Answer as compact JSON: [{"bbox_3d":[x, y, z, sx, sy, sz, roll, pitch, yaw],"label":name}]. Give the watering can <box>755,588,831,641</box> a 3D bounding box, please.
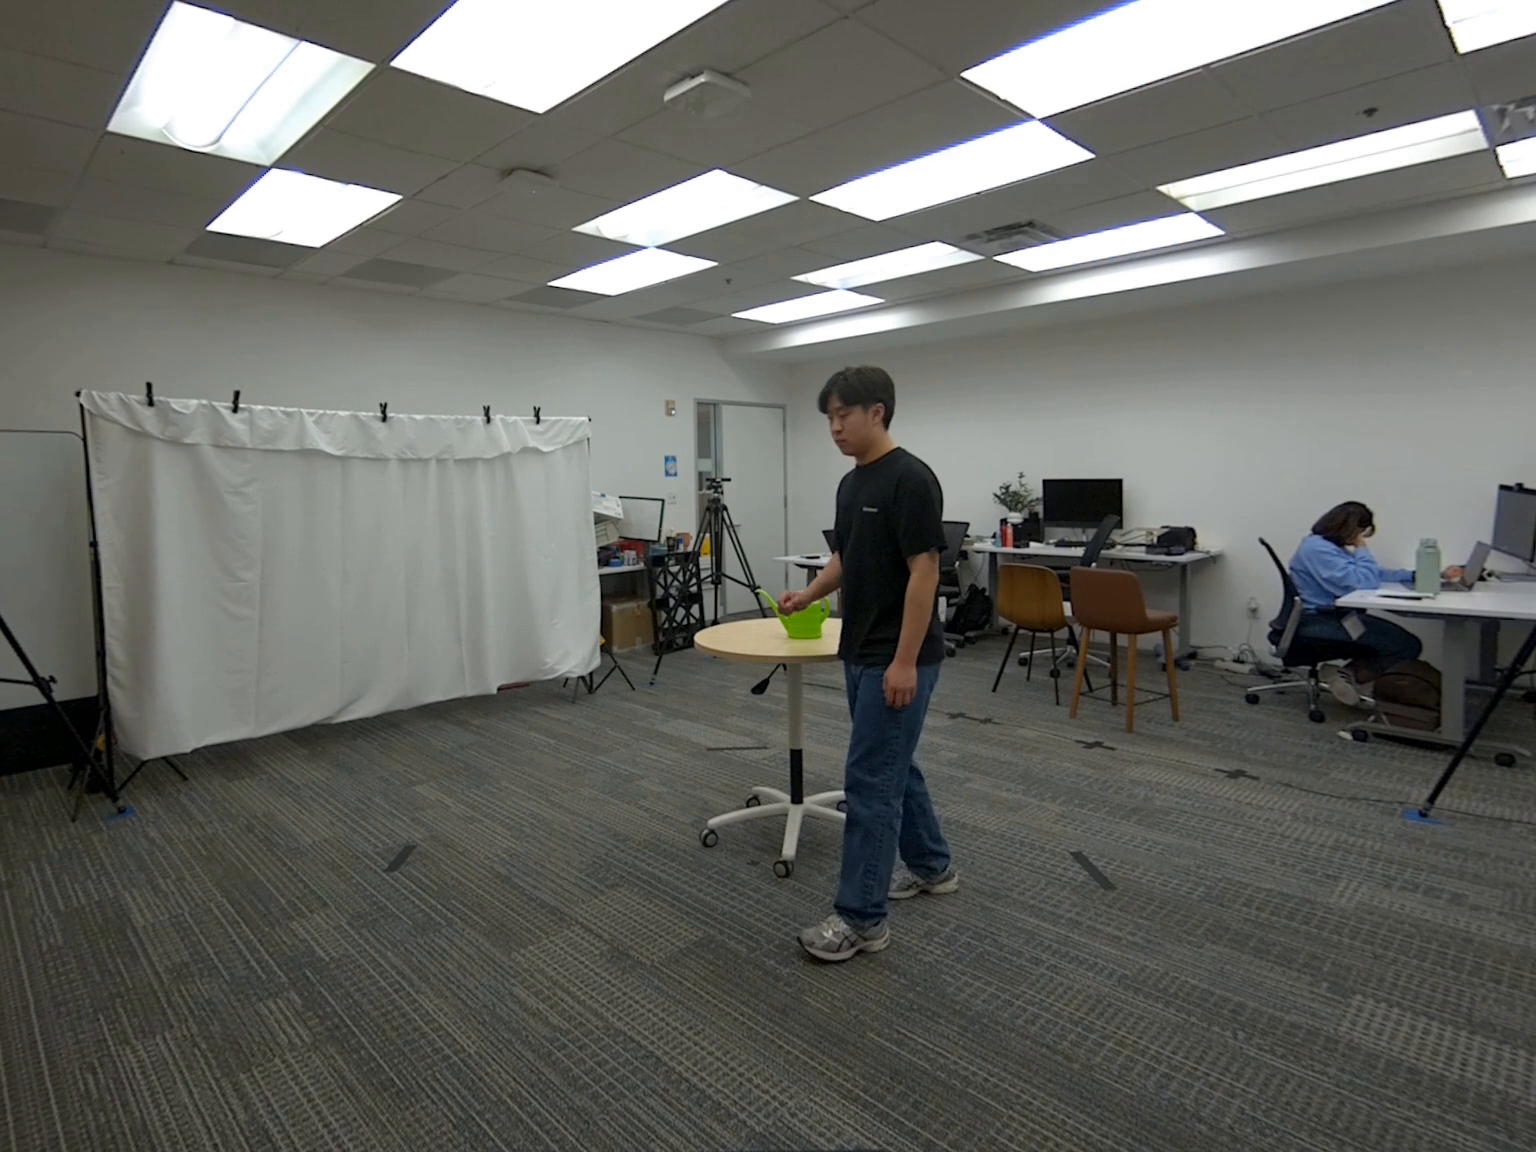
[{"bbox_3d":[0.103,0.145,3.235,0.285,0.176,0.096,3,5,24],"label":"watering can"}]
